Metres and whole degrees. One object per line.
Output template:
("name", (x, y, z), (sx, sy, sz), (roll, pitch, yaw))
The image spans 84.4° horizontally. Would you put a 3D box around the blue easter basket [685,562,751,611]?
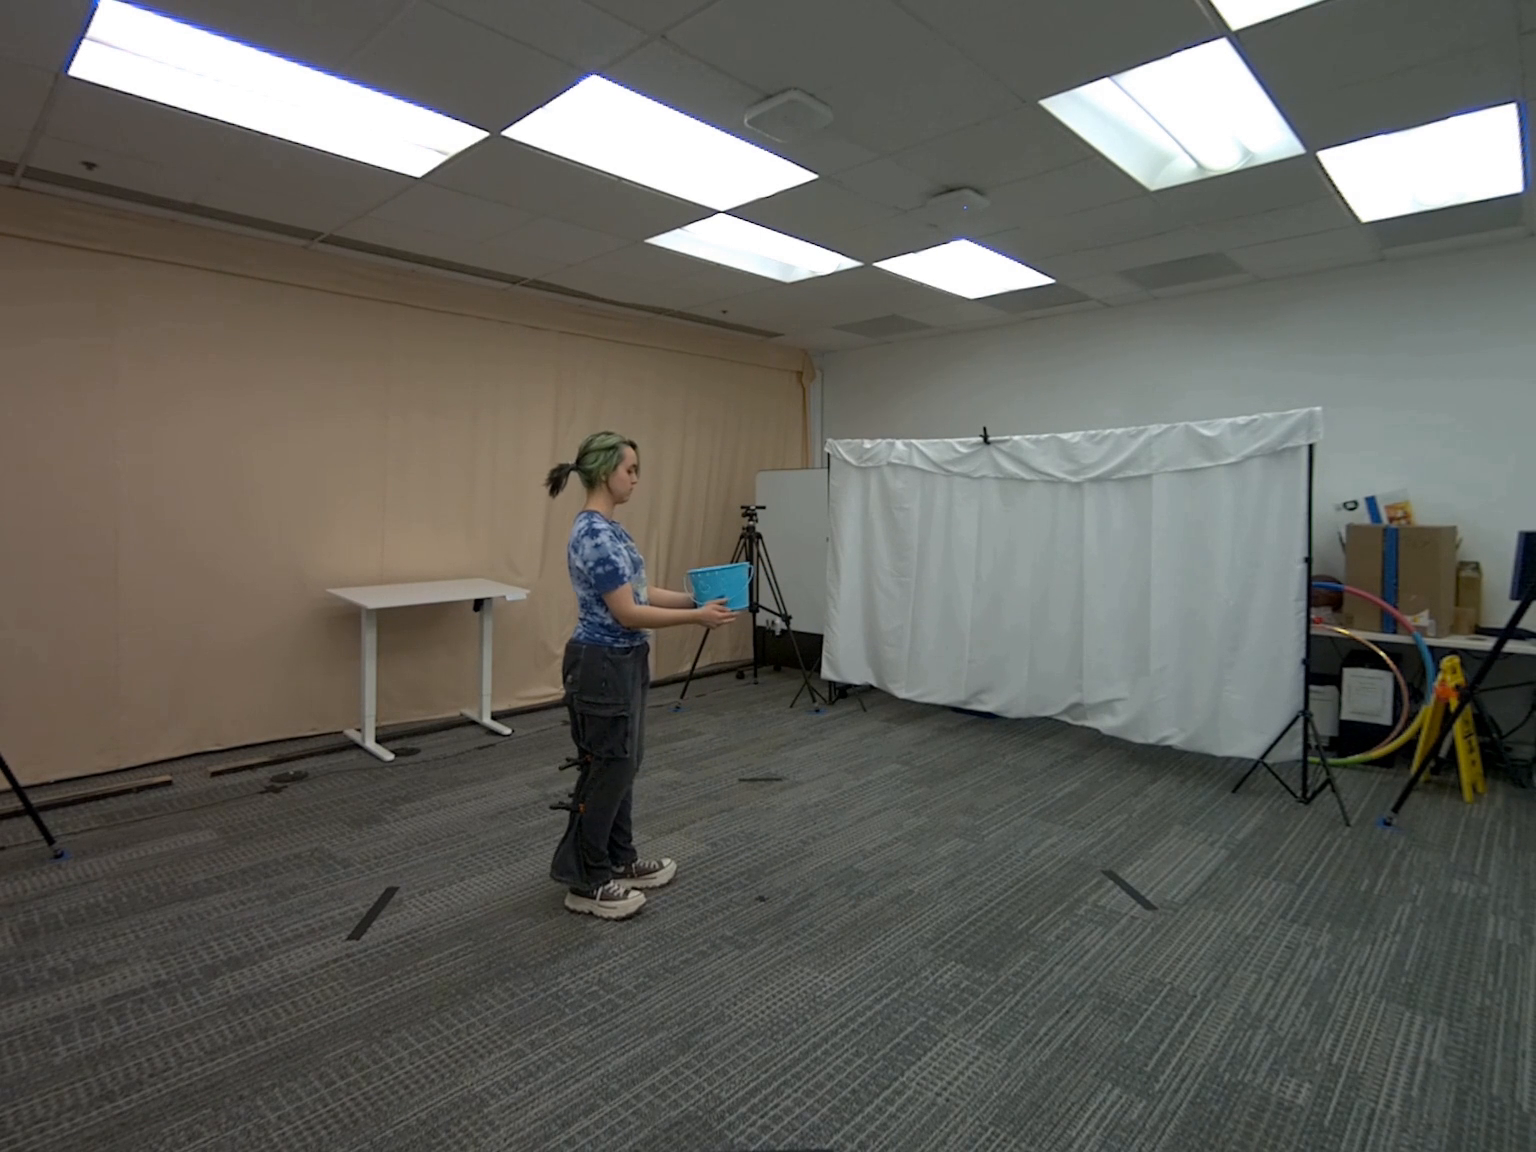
("blue easter basket", (-0.166, 0.050, 3.011), (0.243, 0.156, 0.244), (-7, 1, -2))
